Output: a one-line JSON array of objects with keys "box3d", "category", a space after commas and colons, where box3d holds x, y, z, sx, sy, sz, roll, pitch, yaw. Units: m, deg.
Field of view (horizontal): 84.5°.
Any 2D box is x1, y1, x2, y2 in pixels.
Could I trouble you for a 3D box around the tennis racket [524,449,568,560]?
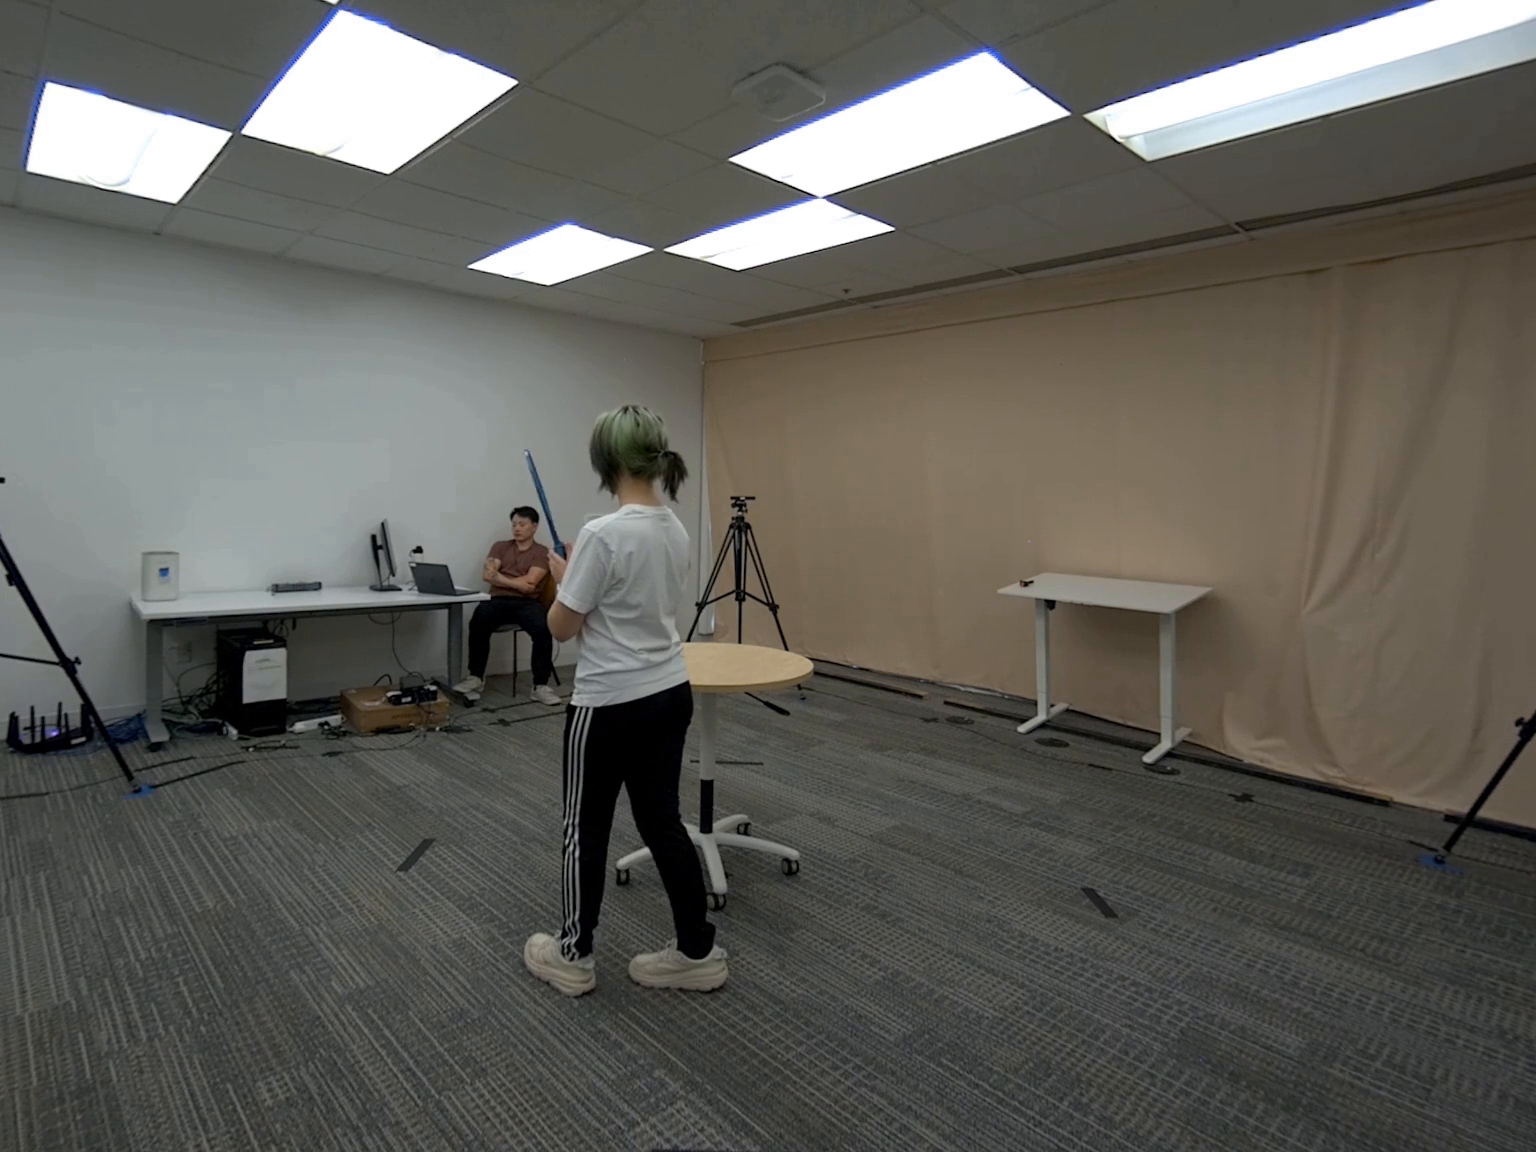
[{"box3d": [-0.670, -0.177, 2.513, 0.031, 0.438, 0.212, -15, -13, -10], "category": "tennis racket"}]
